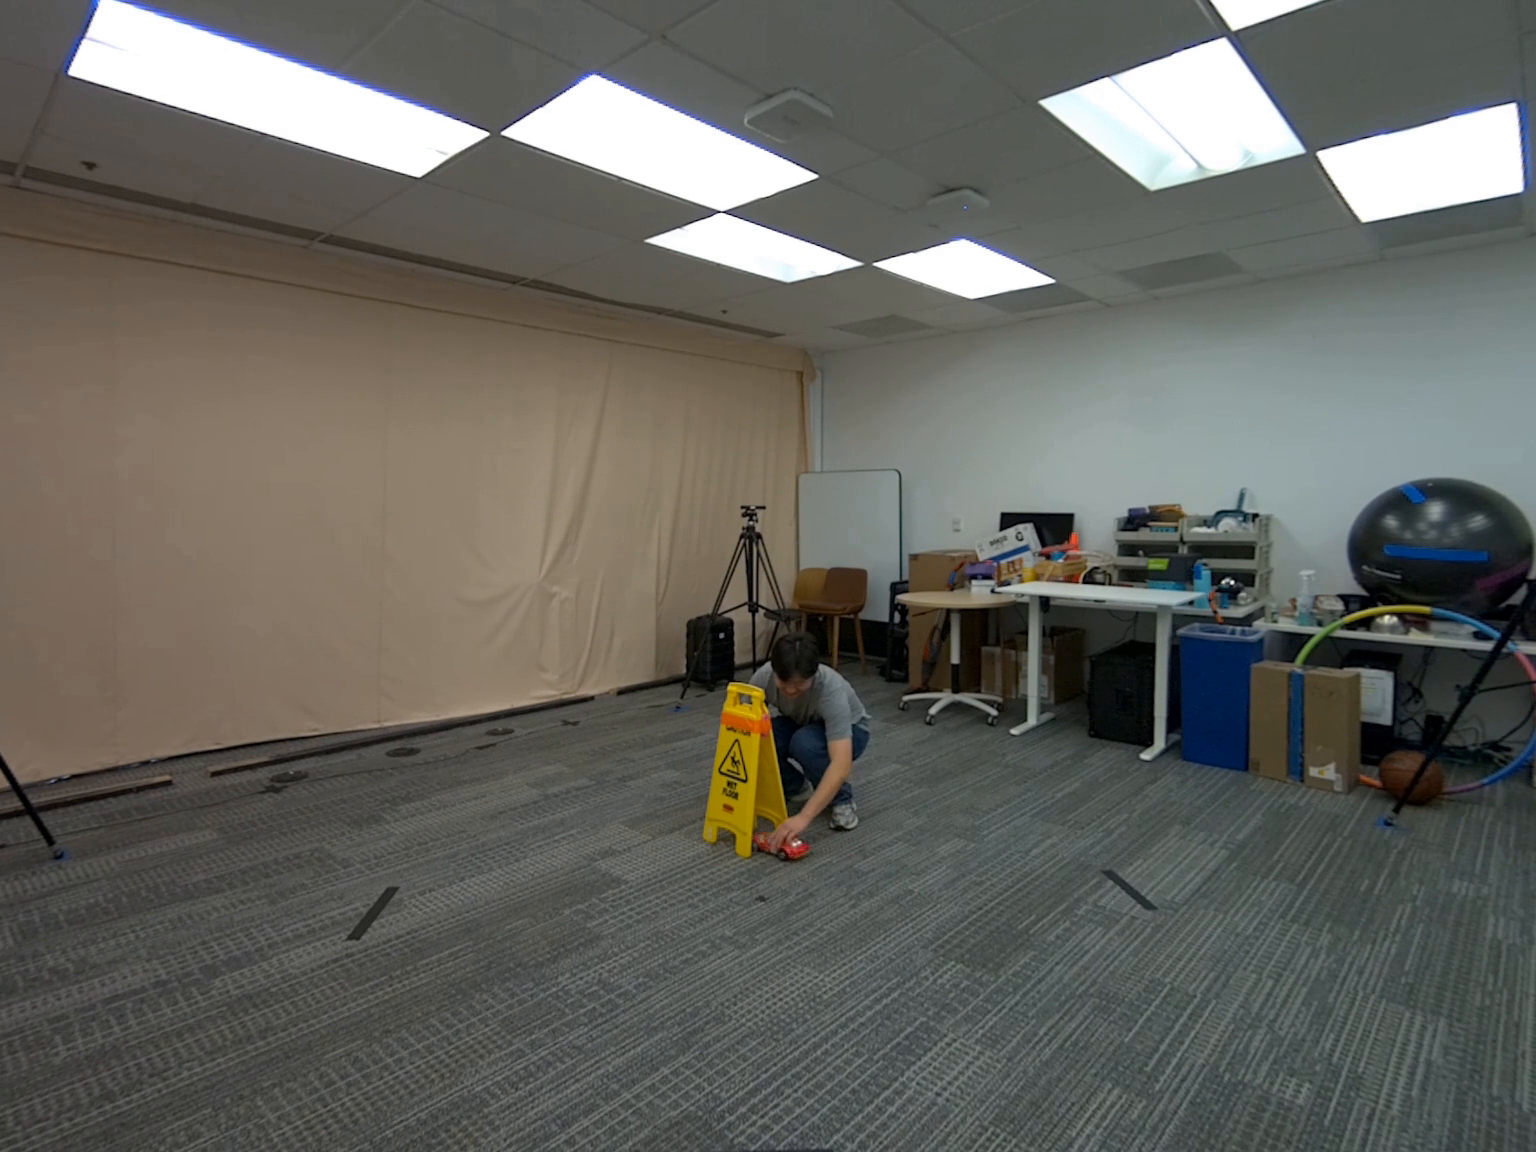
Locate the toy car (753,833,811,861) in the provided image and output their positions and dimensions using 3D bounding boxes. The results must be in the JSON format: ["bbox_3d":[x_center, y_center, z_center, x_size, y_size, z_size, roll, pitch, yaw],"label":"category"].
[{"bbox_3d":[0.054,1.072,3.369,0.262,0.083,0.126,-9,-4,43],"label":"toy car"}]
